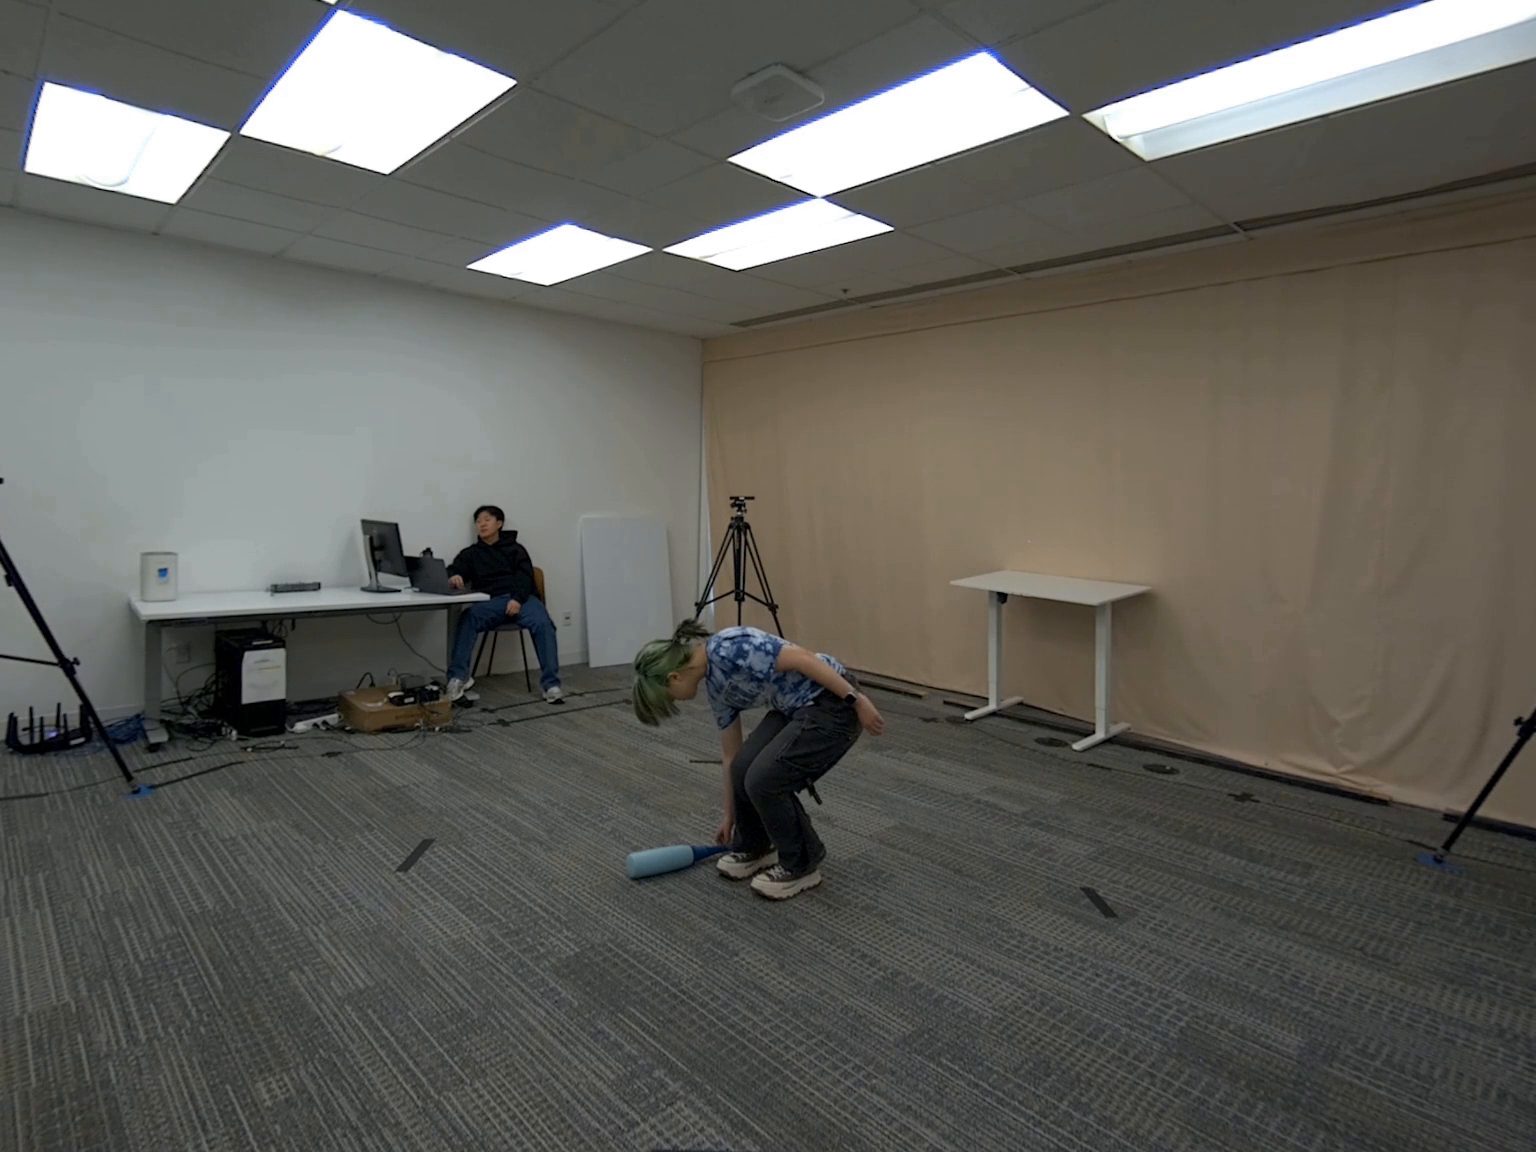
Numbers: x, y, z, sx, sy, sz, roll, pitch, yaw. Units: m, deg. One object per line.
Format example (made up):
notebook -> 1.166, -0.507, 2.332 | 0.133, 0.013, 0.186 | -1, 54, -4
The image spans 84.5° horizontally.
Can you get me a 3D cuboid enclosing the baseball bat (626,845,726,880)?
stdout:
baseball bat -> -0.285, 1.054, 3.190 | 0.531, 0.089, 0.091 | 2, 3, -32
